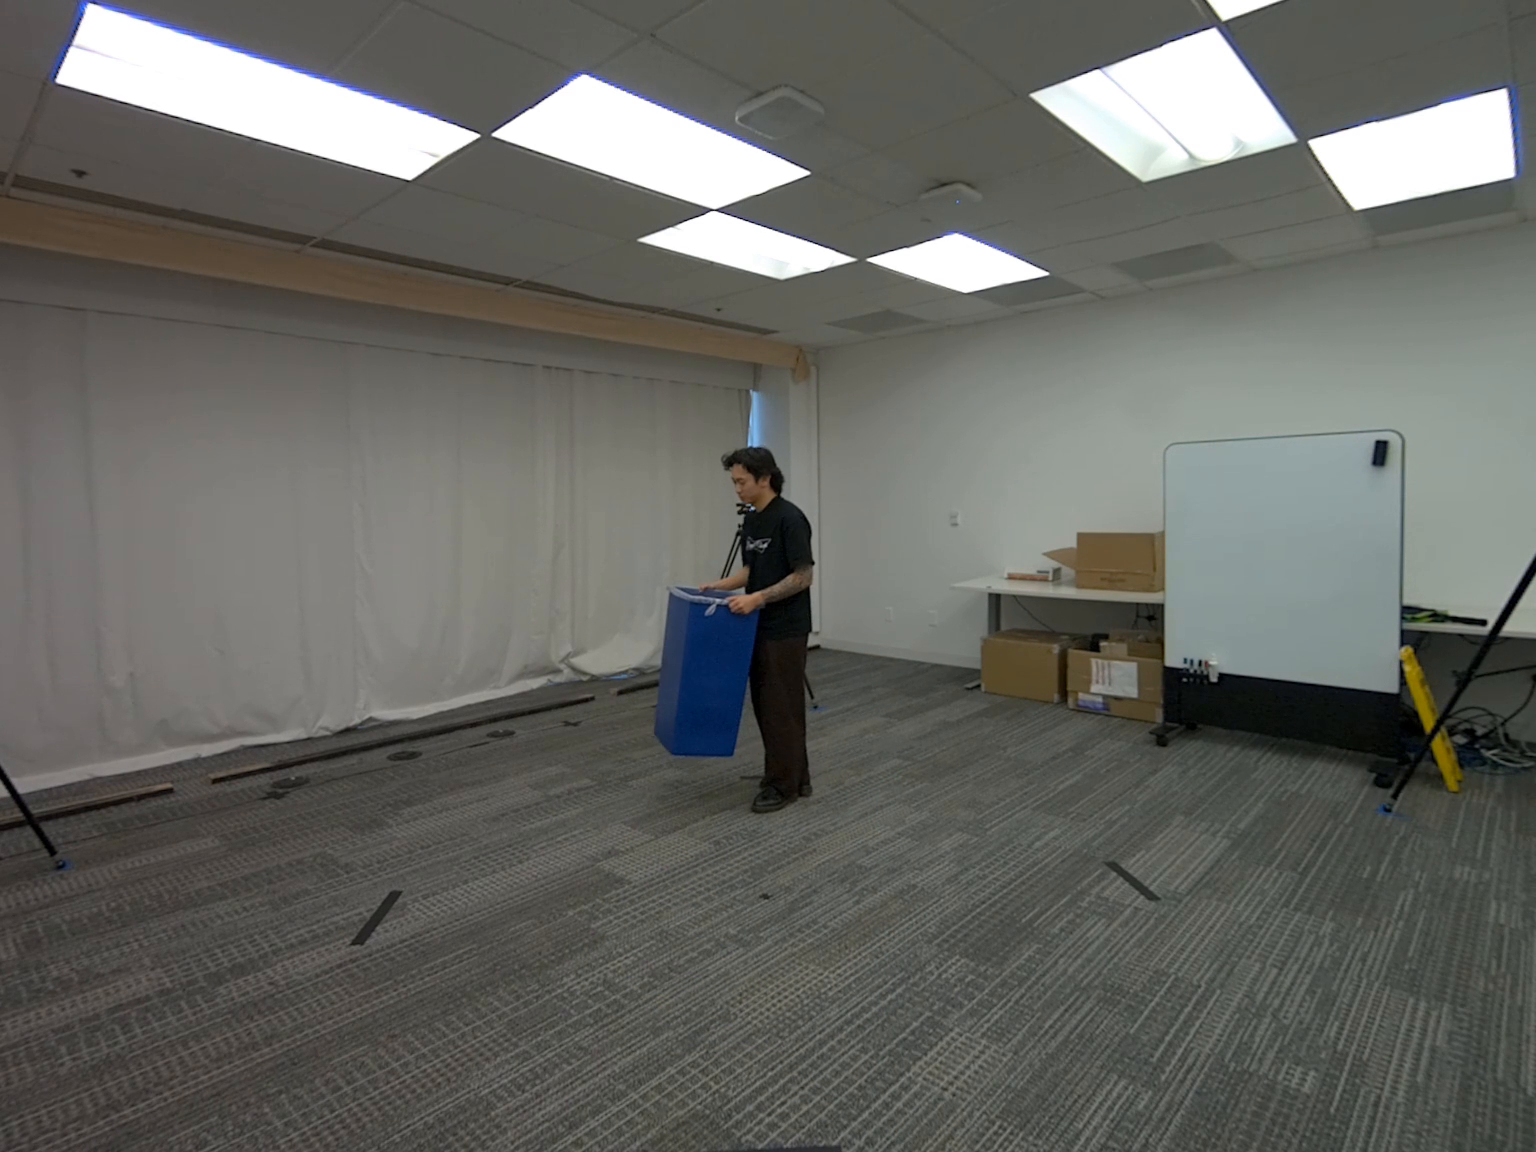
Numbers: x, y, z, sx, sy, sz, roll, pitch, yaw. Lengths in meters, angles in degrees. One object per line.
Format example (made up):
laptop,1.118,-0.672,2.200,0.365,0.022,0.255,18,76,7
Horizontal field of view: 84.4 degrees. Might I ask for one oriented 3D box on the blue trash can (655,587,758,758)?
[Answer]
blue trash can,-0.304,0.434,3.892,0.369,0.712,0.383,7,4,-22
